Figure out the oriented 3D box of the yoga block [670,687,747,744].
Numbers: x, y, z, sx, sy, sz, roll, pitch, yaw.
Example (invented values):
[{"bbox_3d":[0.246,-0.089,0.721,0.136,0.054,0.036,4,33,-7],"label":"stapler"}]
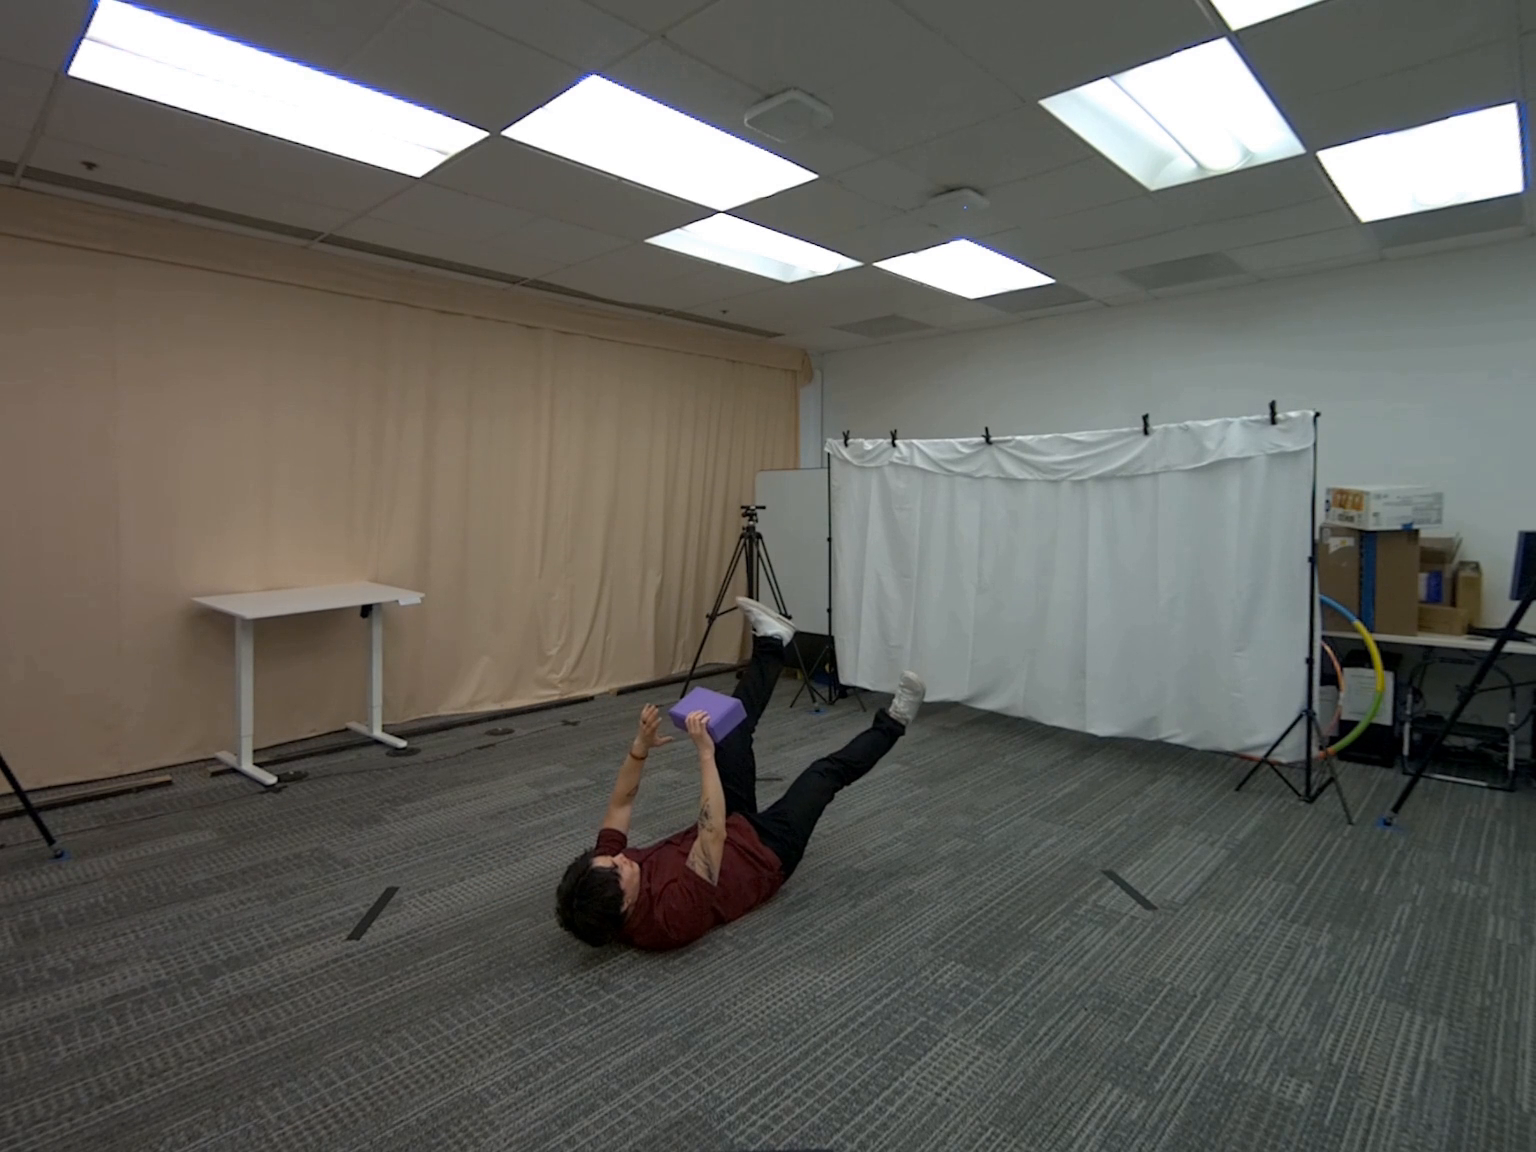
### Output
[{"bbox_3d":[-0.197,0.459,2.780,0.147,0.075,0.237,-36,28,-29],"label":"yoga block"}]
